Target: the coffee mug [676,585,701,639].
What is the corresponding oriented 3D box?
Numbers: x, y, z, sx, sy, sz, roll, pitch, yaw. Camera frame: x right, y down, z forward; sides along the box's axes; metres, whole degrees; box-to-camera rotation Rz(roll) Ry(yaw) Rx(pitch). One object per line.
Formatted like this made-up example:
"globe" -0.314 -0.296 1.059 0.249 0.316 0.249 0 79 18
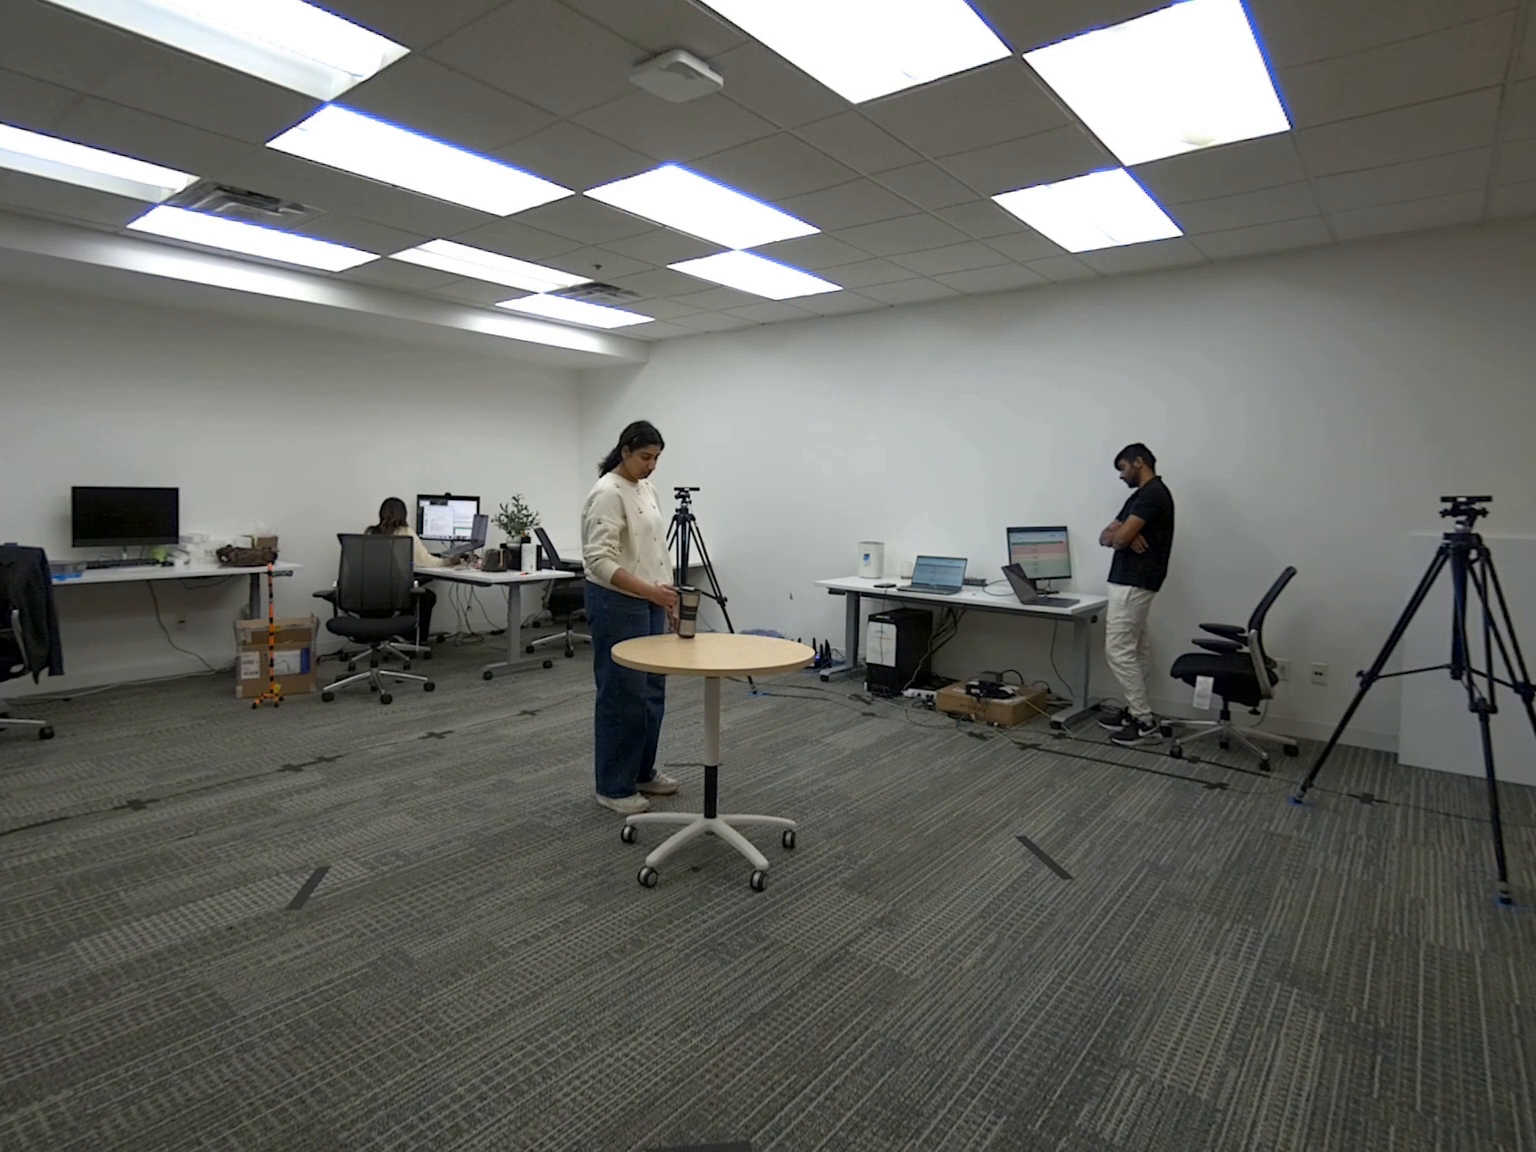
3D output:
"coffee mug" -0.353 0.141 3.467 0.126 0.201 0.085 12 12 42
